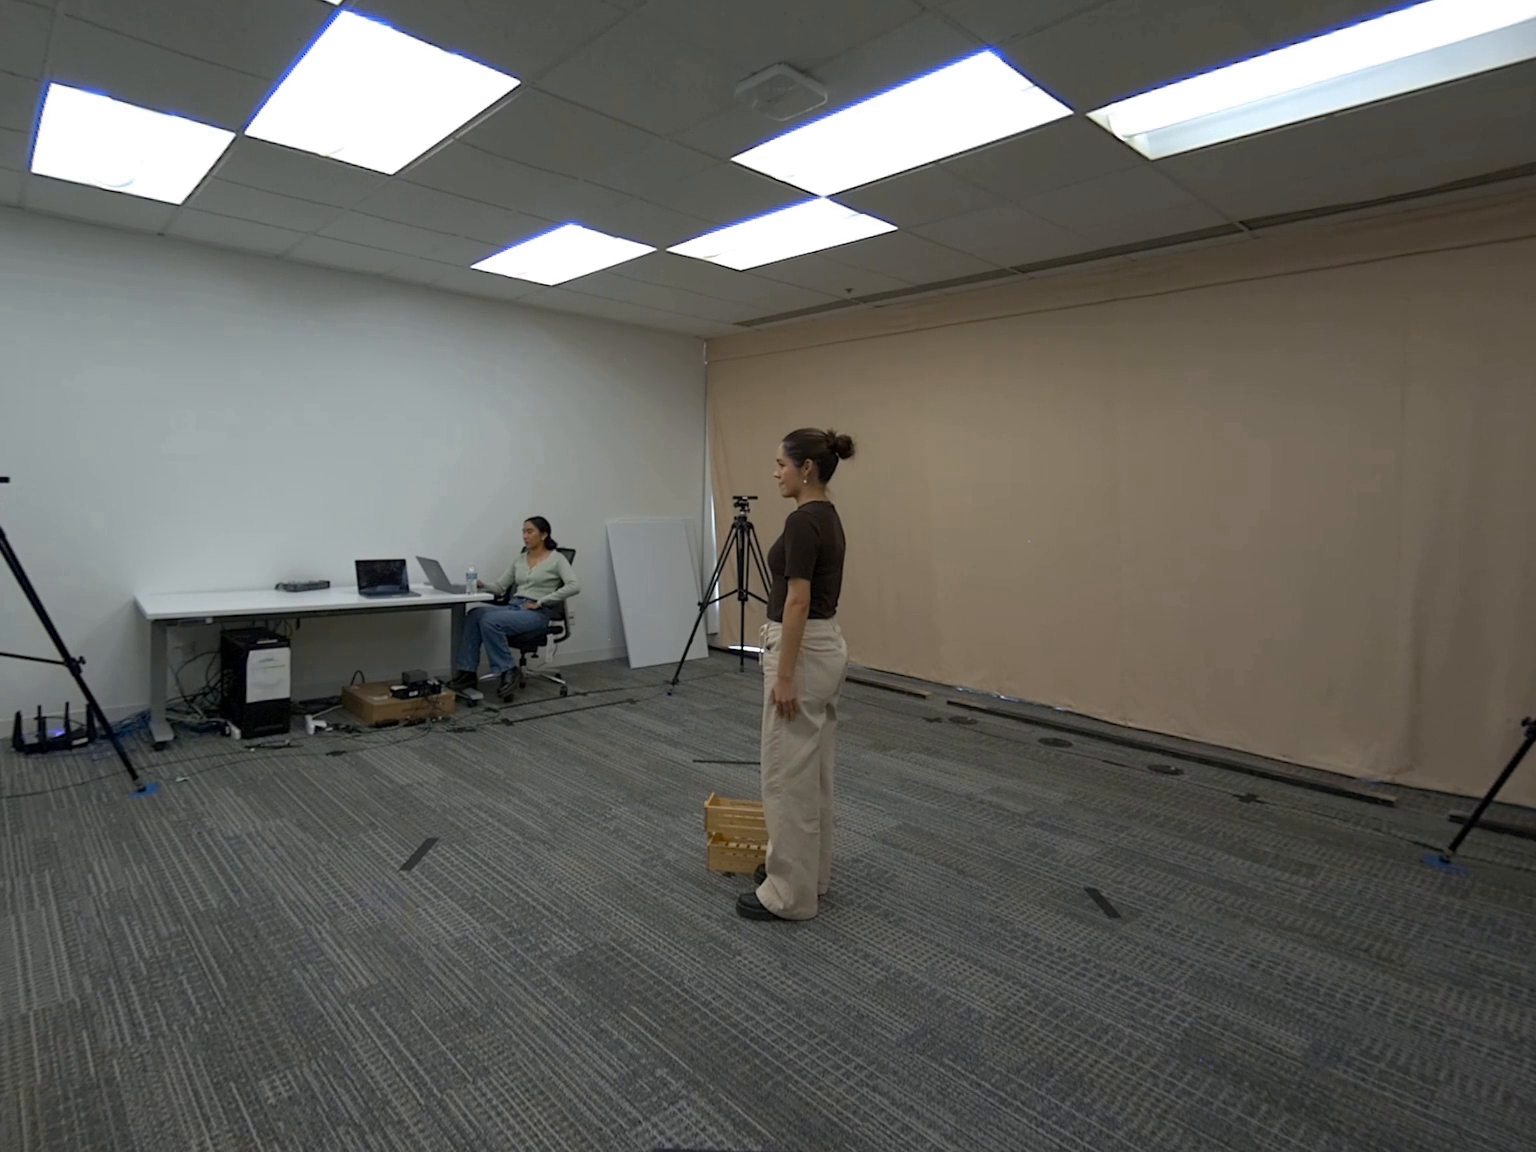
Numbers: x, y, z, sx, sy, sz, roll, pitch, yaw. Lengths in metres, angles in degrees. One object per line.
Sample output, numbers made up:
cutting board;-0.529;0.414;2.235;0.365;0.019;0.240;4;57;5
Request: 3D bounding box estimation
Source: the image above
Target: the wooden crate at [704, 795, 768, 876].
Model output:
wooden crate;-0.076;0.961;3.213;0.327;0.272;0.301;2;6;8
